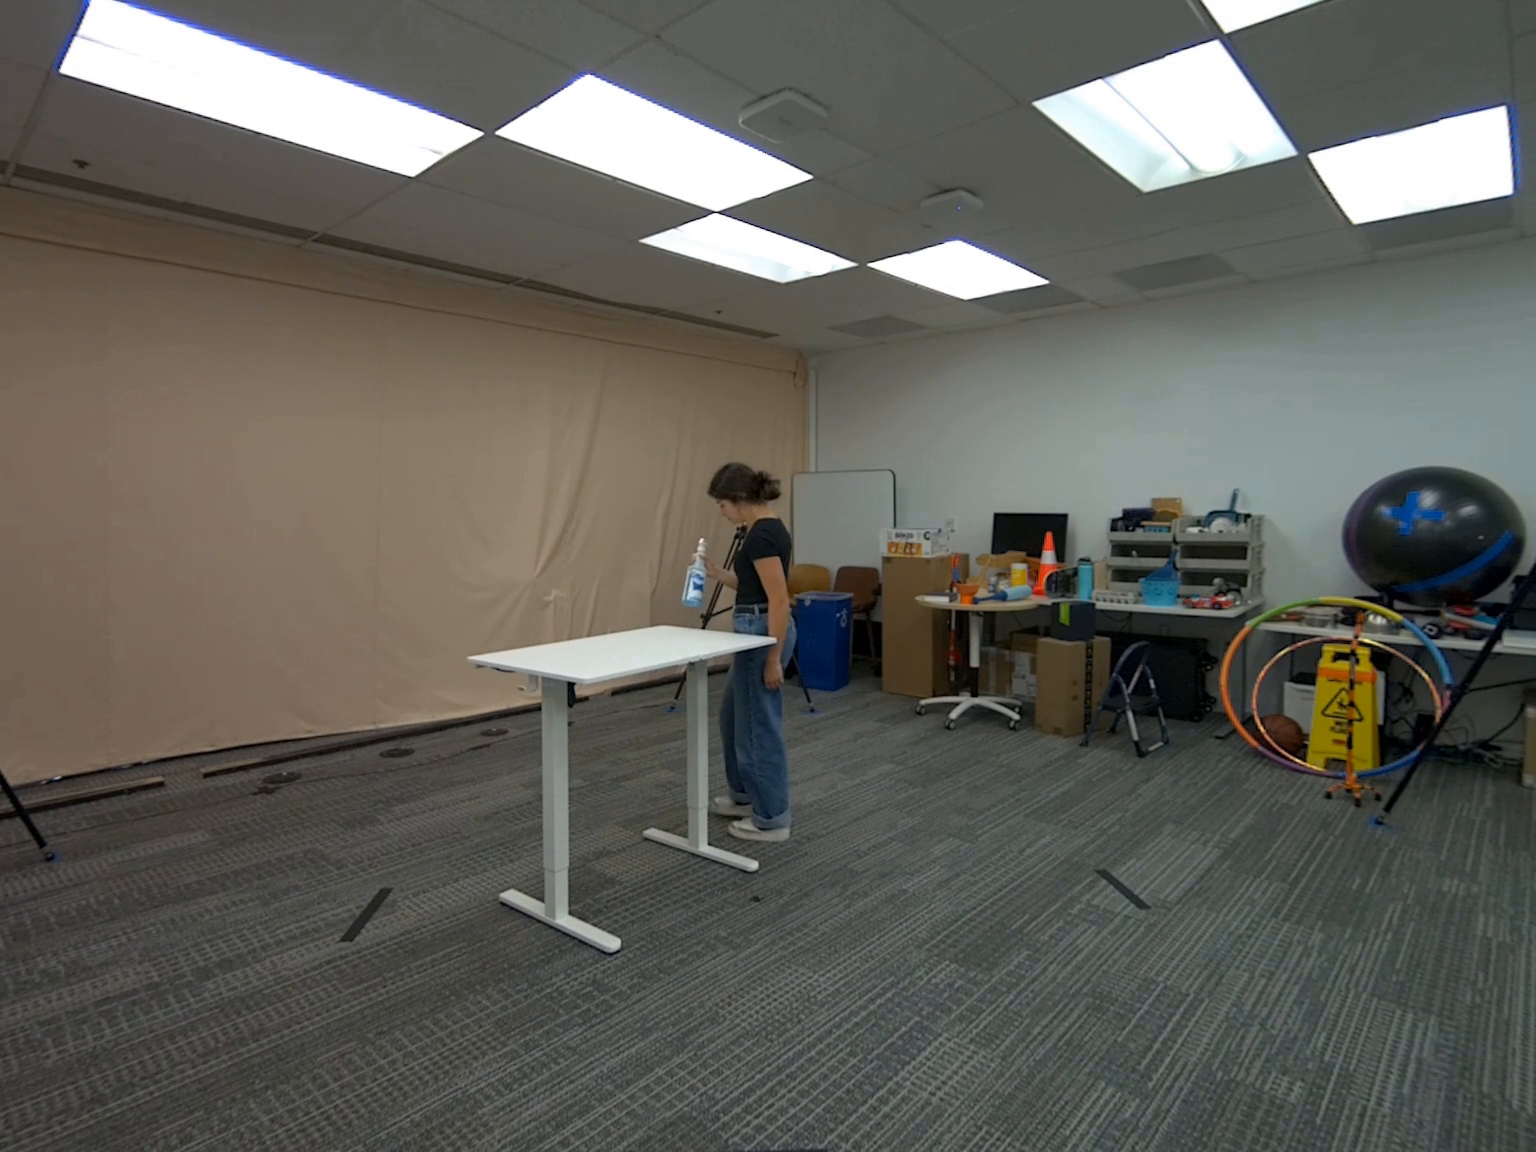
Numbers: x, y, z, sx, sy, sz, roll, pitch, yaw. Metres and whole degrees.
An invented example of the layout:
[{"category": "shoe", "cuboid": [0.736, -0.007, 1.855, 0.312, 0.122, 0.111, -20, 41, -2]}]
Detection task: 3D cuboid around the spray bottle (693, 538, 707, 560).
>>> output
[{"category": "spray bottle", "cuboid": [-0.297, -0.015, 3.582, 0.090, 0.299, 0.087, 0, -16, 36]}]
